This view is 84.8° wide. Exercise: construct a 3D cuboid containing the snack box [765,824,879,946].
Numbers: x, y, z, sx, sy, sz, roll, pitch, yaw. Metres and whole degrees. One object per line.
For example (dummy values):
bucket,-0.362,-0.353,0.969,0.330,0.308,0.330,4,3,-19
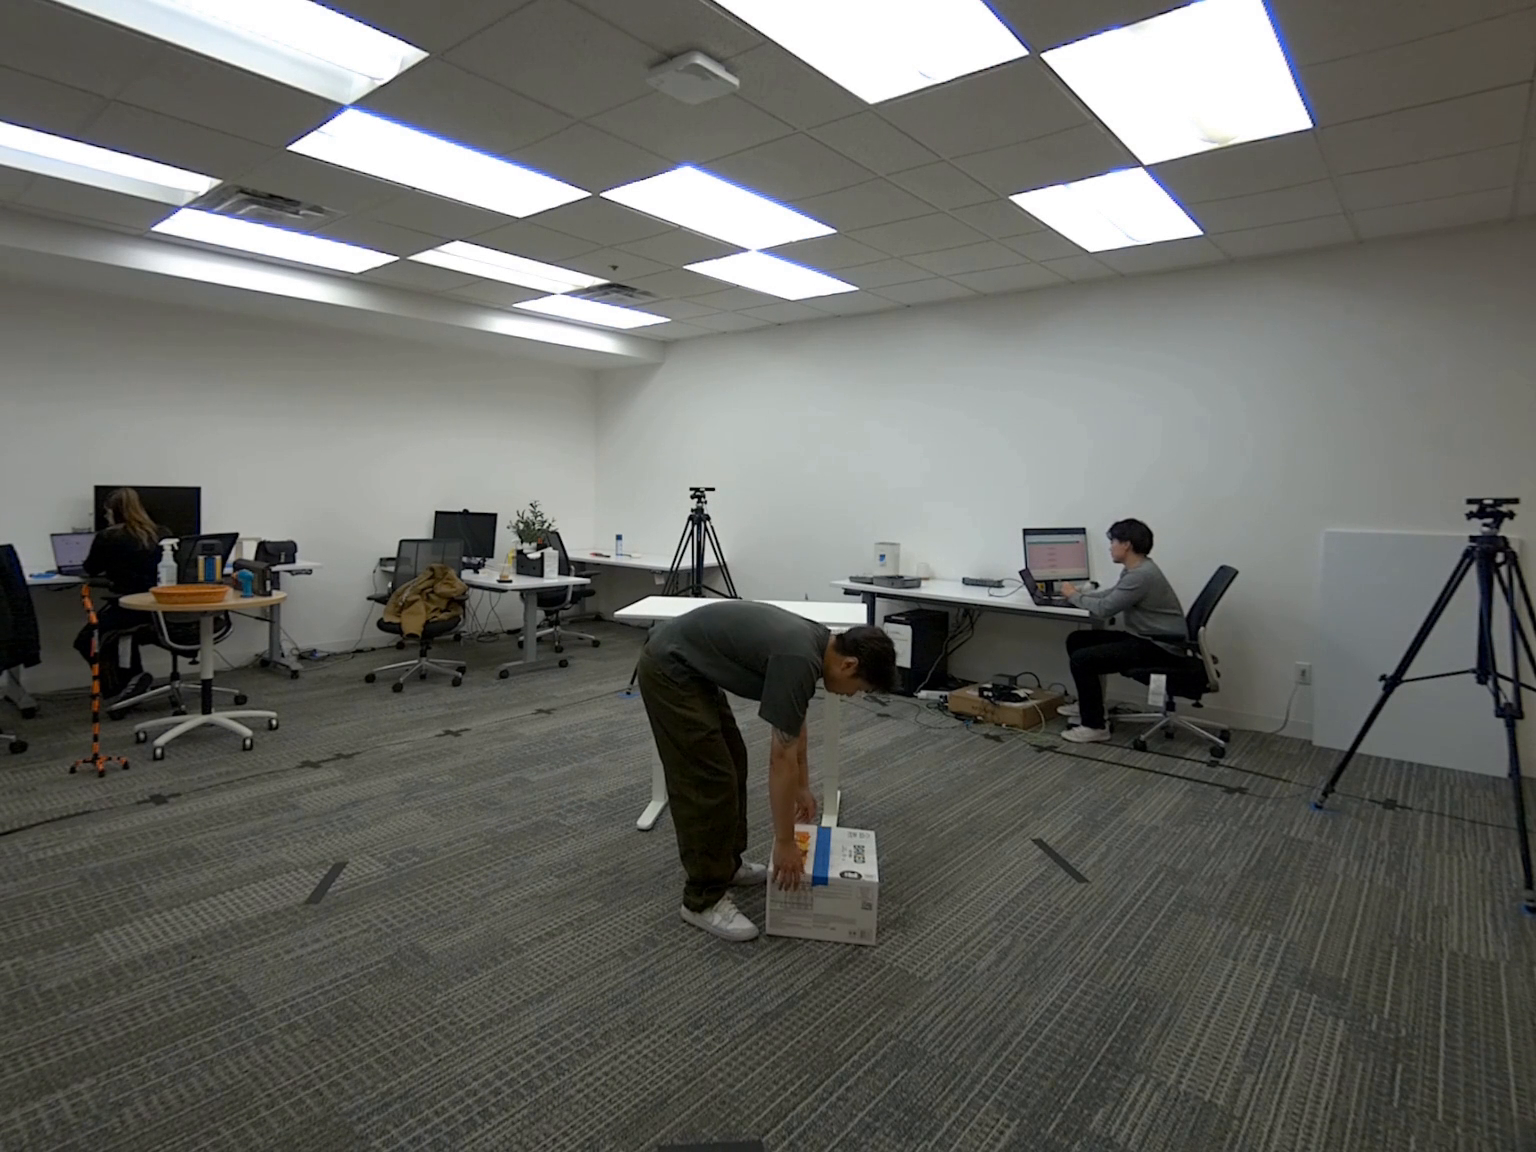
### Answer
snack box,0.176,1.005,2.807,0.343,0.205,0.403,2,5,7
